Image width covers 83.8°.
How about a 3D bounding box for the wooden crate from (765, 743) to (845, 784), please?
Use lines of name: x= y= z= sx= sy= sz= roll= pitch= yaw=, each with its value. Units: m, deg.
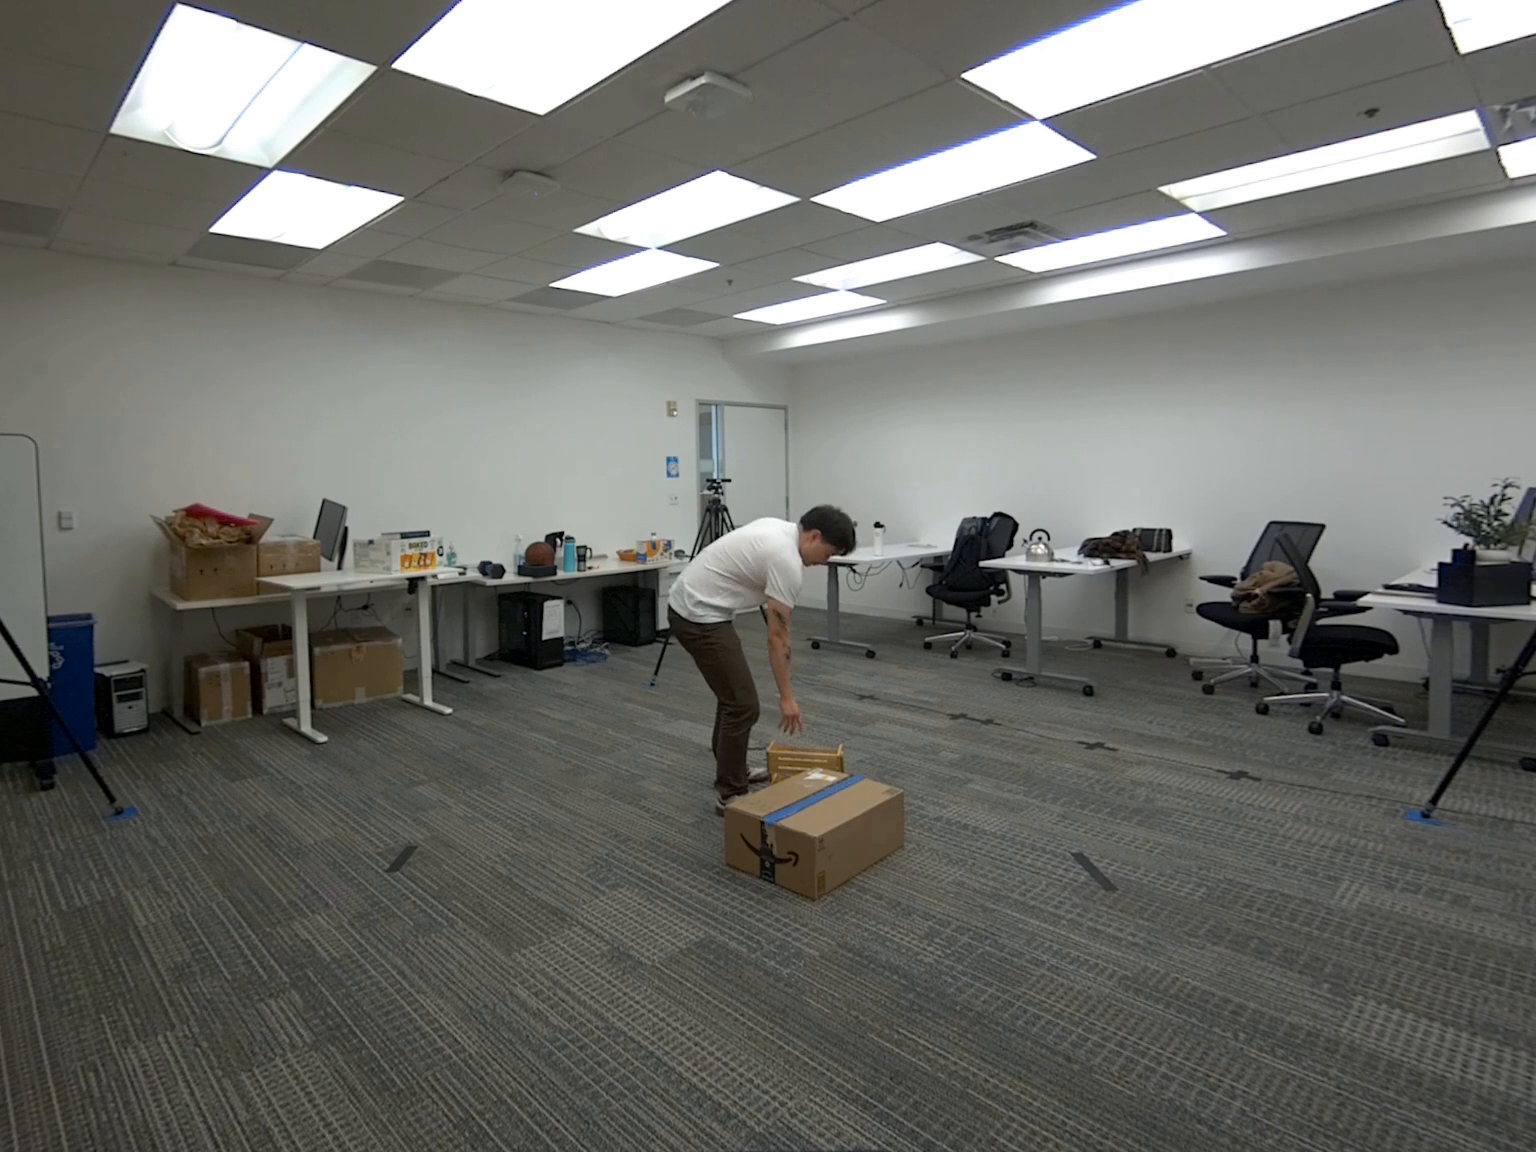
wooden crate: x=0.174 y=0.843 z=3.699 sx=0.328 sy=0.272 sz=0.300 roll=0 pitch=6 yaw=10
